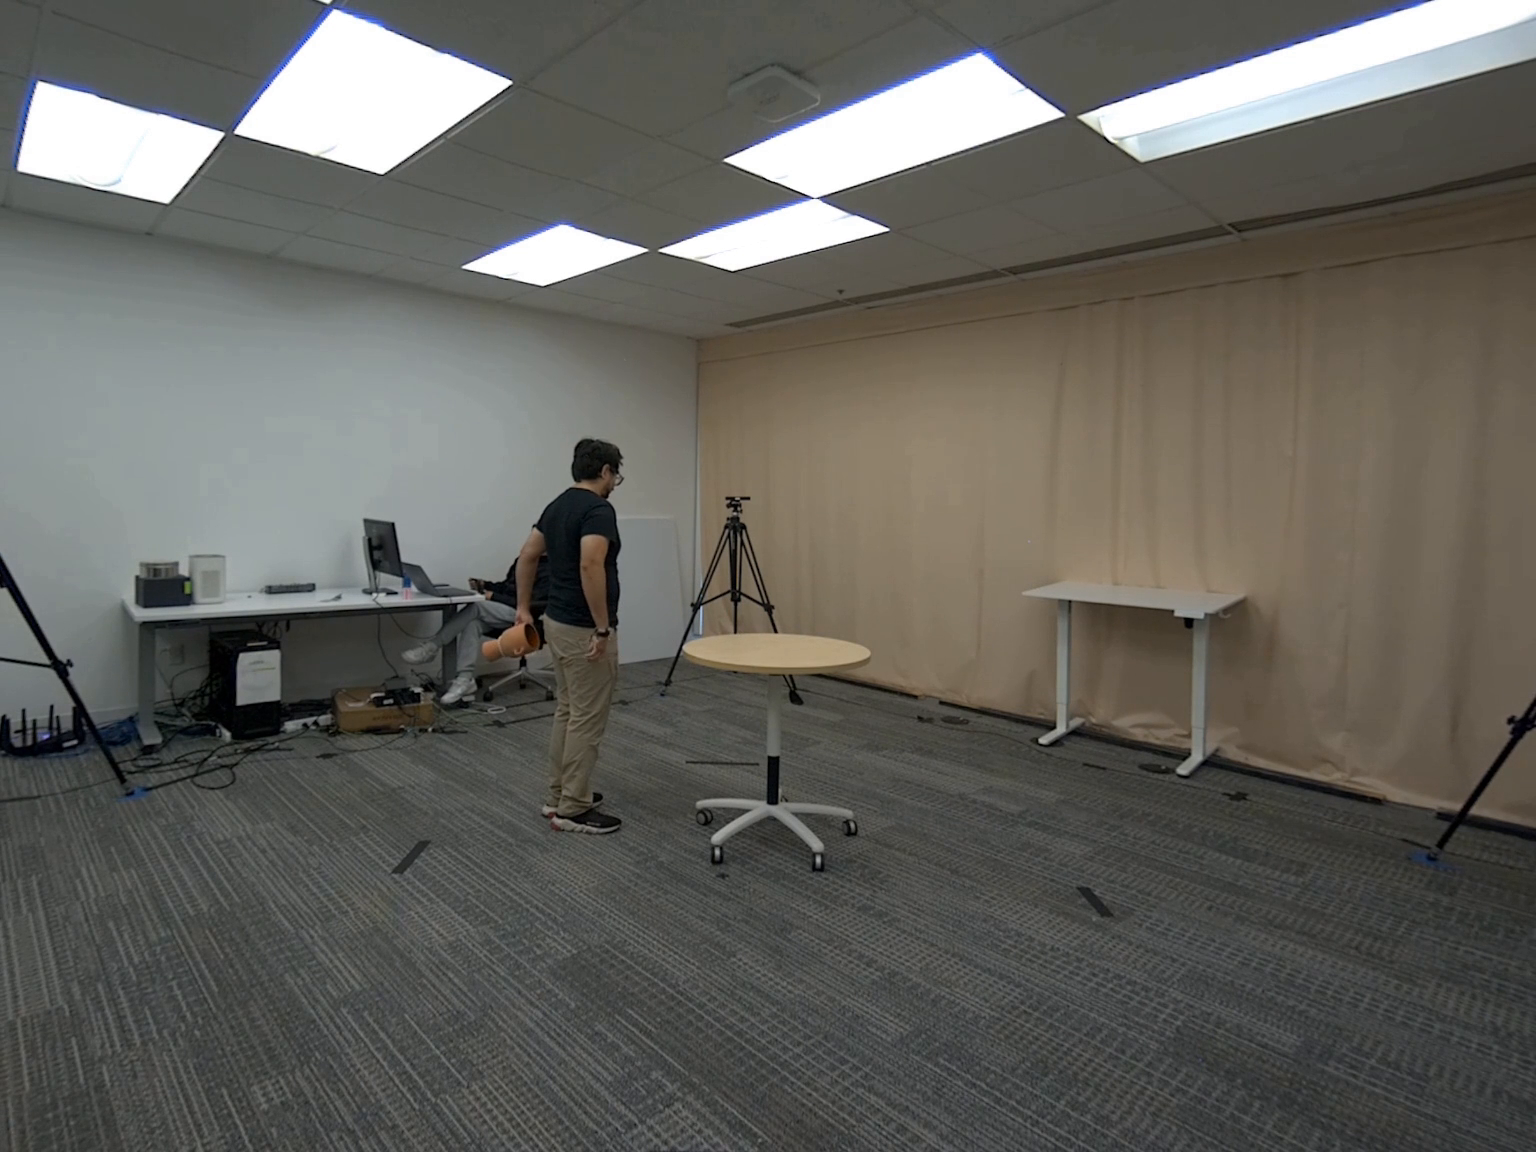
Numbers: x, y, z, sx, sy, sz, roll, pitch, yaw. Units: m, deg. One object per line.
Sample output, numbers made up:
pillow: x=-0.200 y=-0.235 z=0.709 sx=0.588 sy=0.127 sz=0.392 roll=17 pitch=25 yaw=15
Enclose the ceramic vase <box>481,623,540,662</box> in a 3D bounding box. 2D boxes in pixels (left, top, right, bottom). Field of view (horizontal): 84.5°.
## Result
ceramic vase: x=-1.137 y=0.299 z=3.718 sx=0.221 sy=0.136 sz=0.156 roll=-20 pitch=-11 yaw=10
